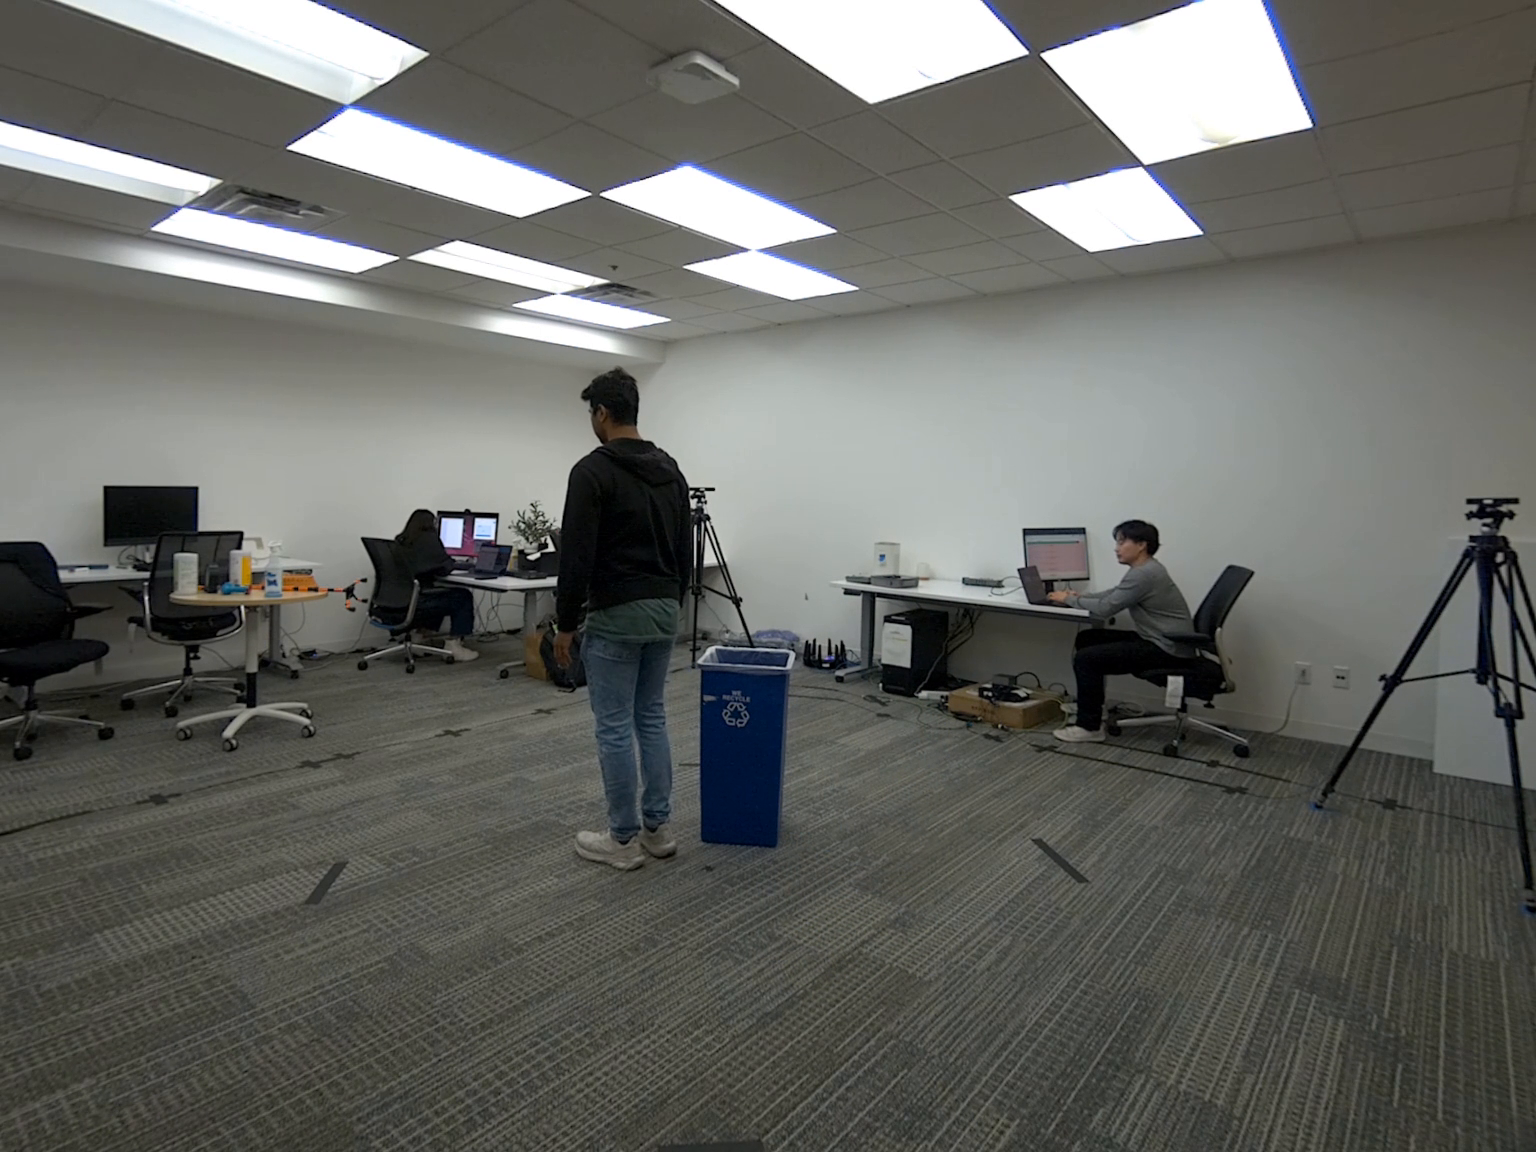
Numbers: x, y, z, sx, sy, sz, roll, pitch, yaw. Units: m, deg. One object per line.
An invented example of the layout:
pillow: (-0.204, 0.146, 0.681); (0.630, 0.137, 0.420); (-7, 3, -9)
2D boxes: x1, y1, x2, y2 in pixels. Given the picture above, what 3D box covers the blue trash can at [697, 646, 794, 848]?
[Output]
blue trash can: (-0.100, 0.677, 3.445); (0.381, 0.712, 0.372); (2, 3, 7)
